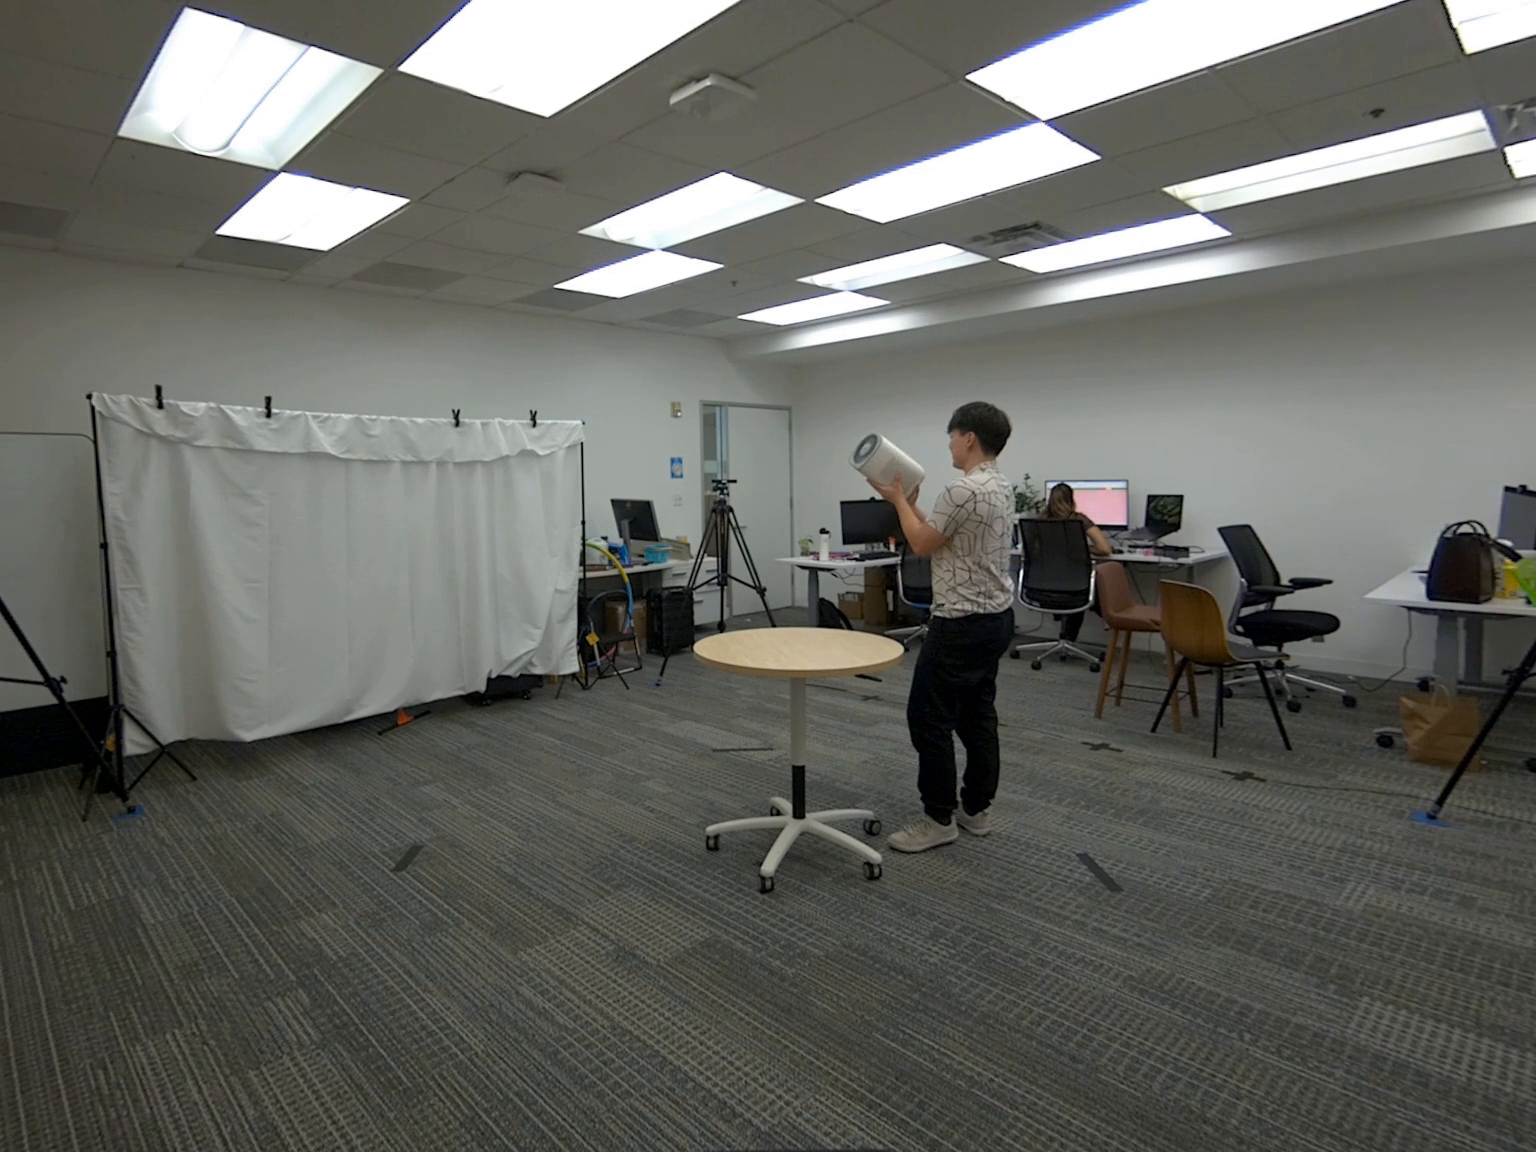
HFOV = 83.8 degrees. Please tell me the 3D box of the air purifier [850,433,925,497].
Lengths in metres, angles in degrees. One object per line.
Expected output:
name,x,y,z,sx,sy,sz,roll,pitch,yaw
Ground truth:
air purifier,0.496,-0.452,3.505,0.258,0.171,0.176,33,12,-23
